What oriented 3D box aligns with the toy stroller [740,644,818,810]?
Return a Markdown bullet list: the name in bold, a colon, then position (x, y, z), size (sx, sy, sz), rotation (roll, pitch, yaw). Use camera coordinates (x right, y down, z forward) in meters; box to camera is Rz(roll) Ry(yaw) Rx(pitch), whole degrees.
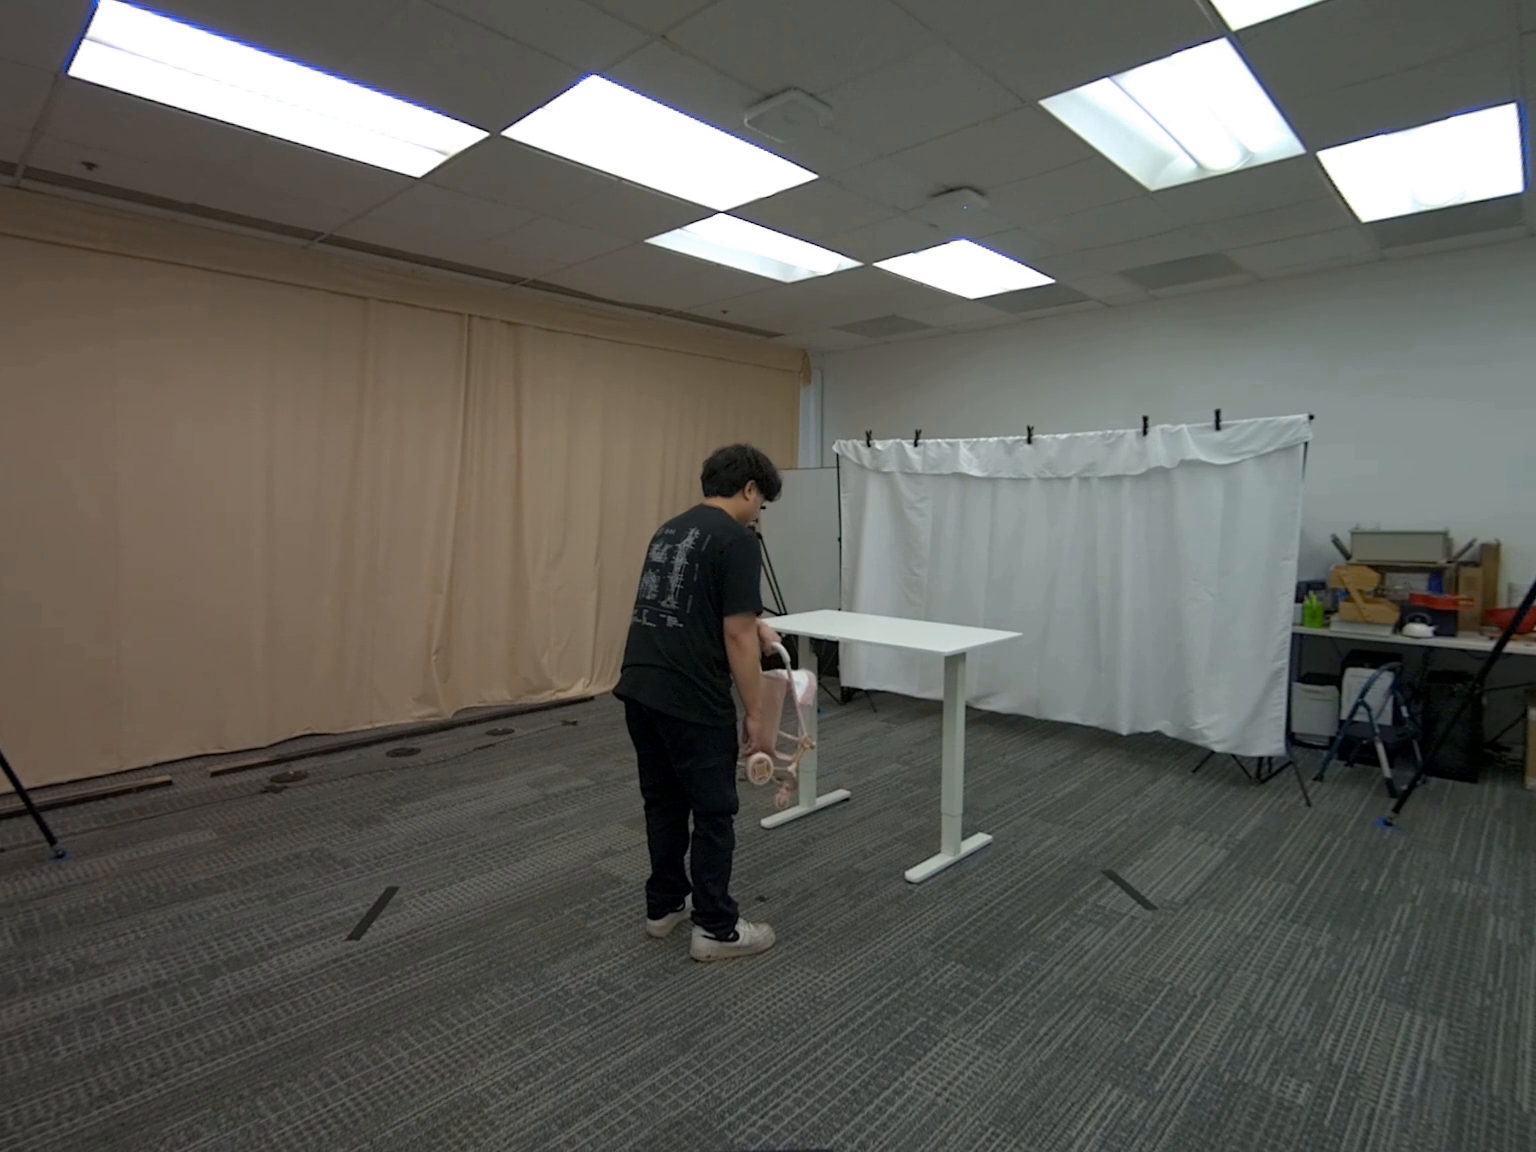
- **toy stroller**: position (0.029, 0.543, 3.008), size (0.331, 0.536, 0.289), rotation (26, -13, -29)
